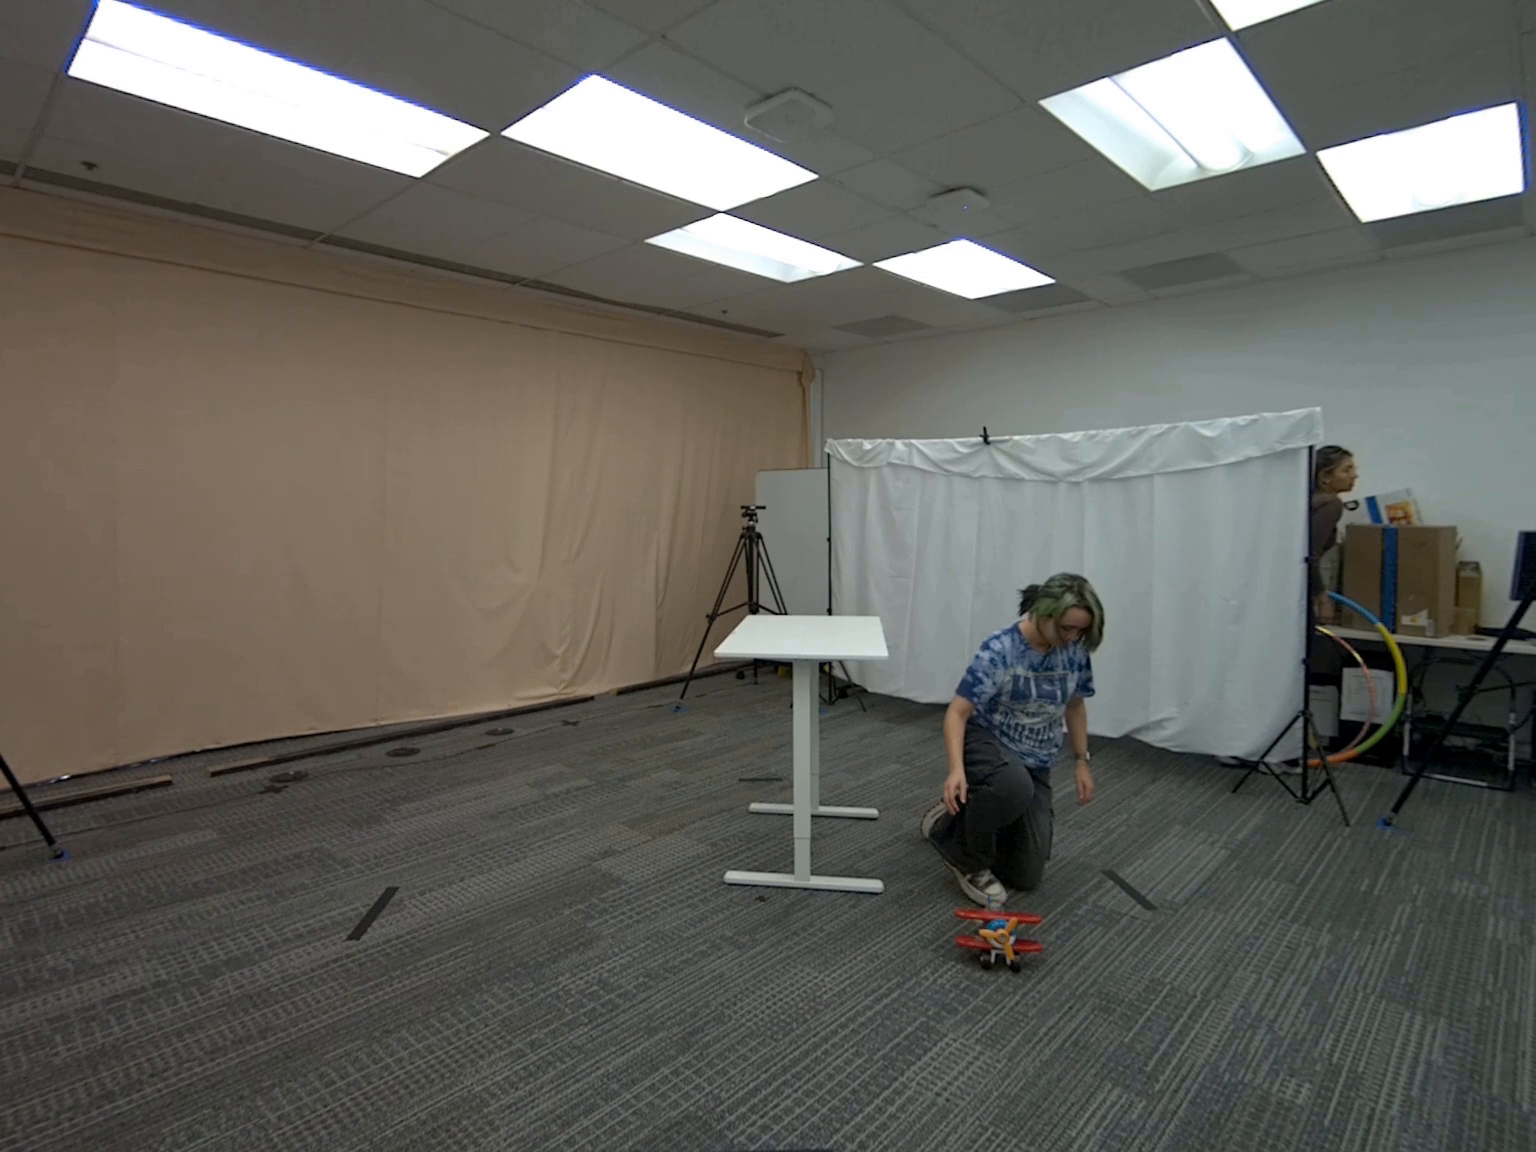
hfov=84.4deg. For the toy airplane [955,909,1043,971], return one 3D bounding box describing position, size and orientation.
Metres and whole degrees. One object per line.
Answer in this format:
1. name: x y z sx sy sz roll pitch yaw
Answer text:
1. toy airplane: 0.691 1.098 2.609 0.246 0.156 0.265 -2 4 -21
